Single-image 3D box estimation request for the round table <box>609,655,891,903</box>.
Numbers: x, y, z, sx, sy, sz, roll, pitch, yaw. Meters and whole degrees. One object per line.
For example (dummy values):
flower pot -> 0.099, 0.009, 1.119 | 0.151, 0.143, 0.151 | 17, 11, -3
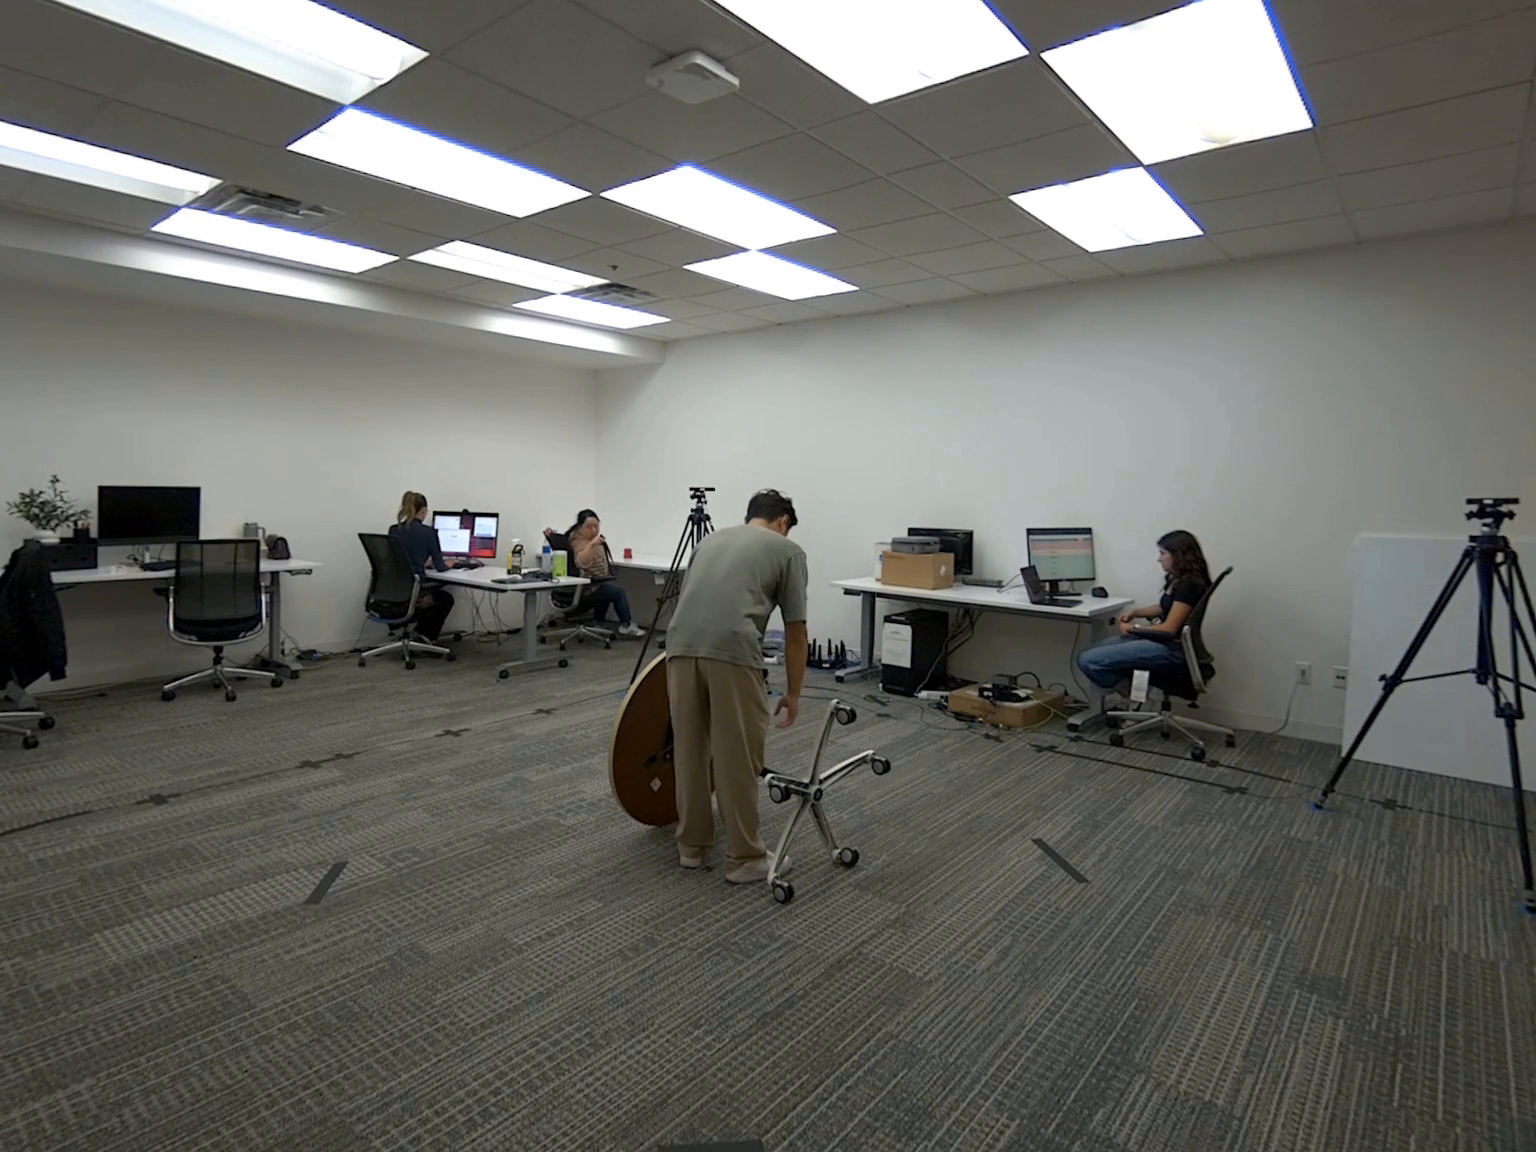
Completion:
round table -> -0.063, 0.723, 3.251 | 0.816, 0.779, 0.762 | 14, 12, 39
